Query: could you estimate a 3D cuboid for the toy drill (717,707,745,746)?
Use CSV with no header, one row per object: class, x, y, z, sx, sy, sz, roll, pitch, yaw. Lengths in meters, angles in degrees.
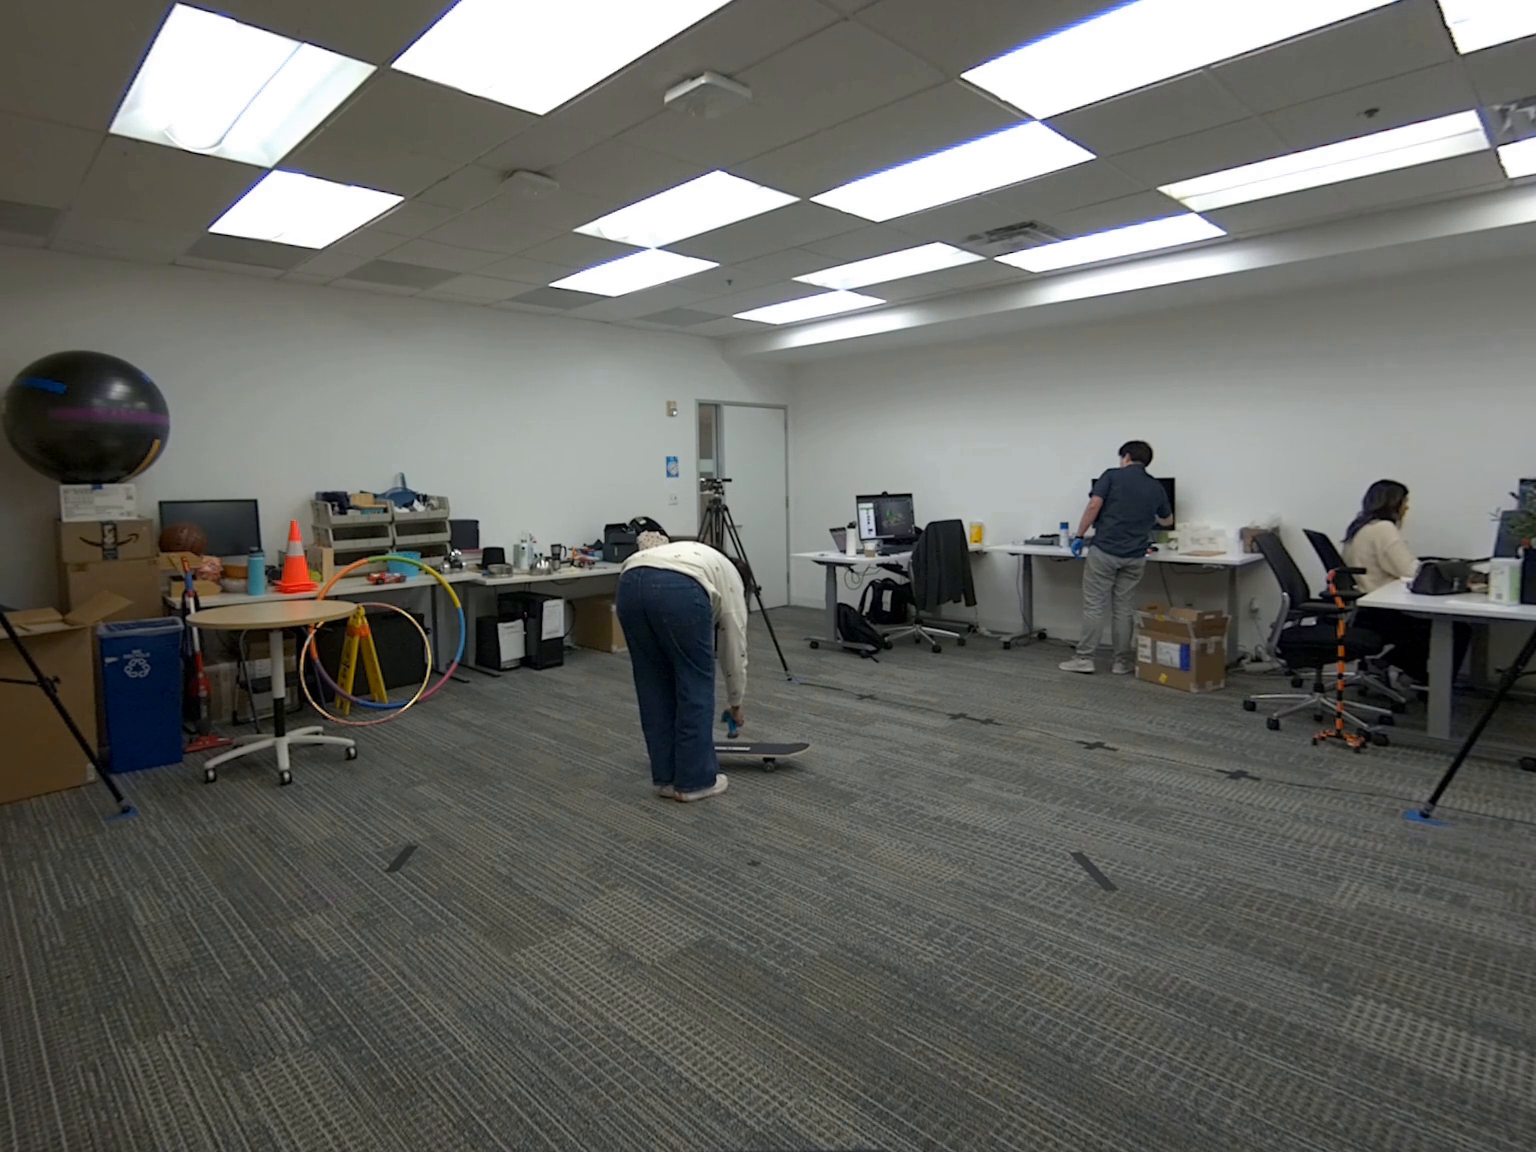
toy drill,-0.186,0.731,4.205,0.060,0.150,0.169,9,-33,-24
